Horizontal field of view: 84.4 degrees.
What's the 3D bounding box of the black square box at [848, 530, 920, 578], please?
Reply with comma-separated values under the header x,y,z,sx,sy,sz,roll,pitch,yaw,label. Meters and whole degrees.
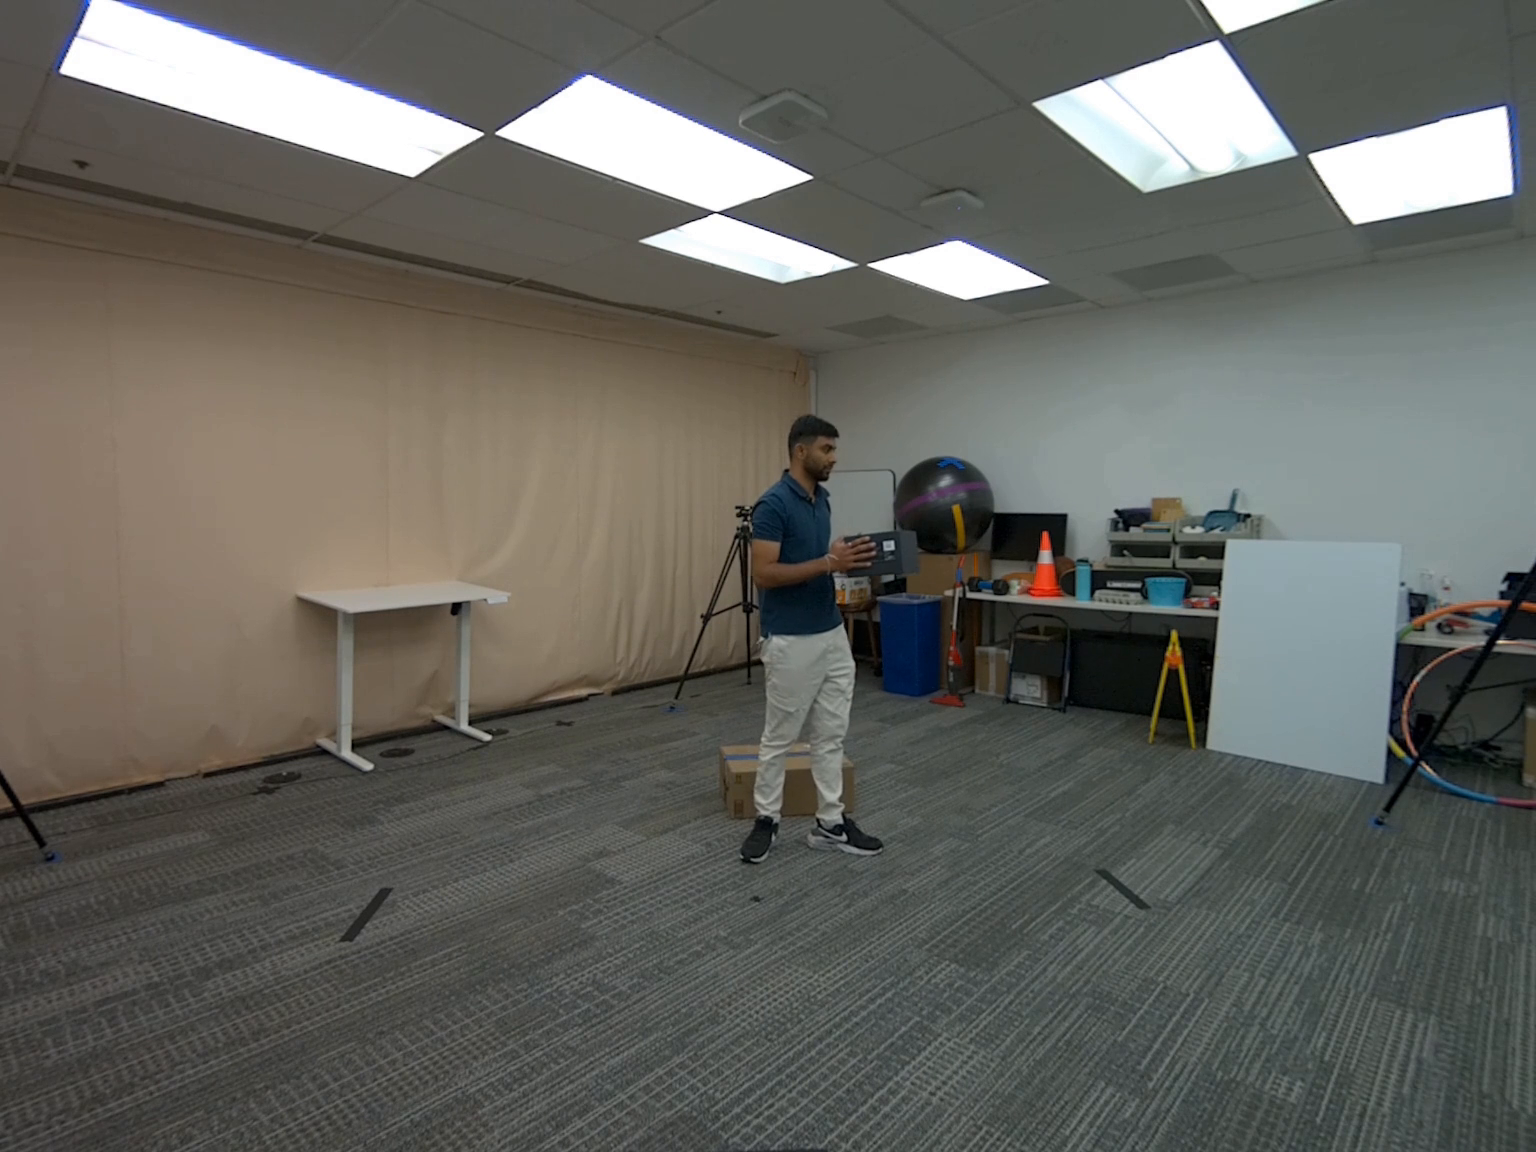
x,y,z,sx,sy,sz,roll,pitch,yaw,label
0.432,-0.083,3.172,0.222,0.156,0.222,-6,-1,26,black square box
